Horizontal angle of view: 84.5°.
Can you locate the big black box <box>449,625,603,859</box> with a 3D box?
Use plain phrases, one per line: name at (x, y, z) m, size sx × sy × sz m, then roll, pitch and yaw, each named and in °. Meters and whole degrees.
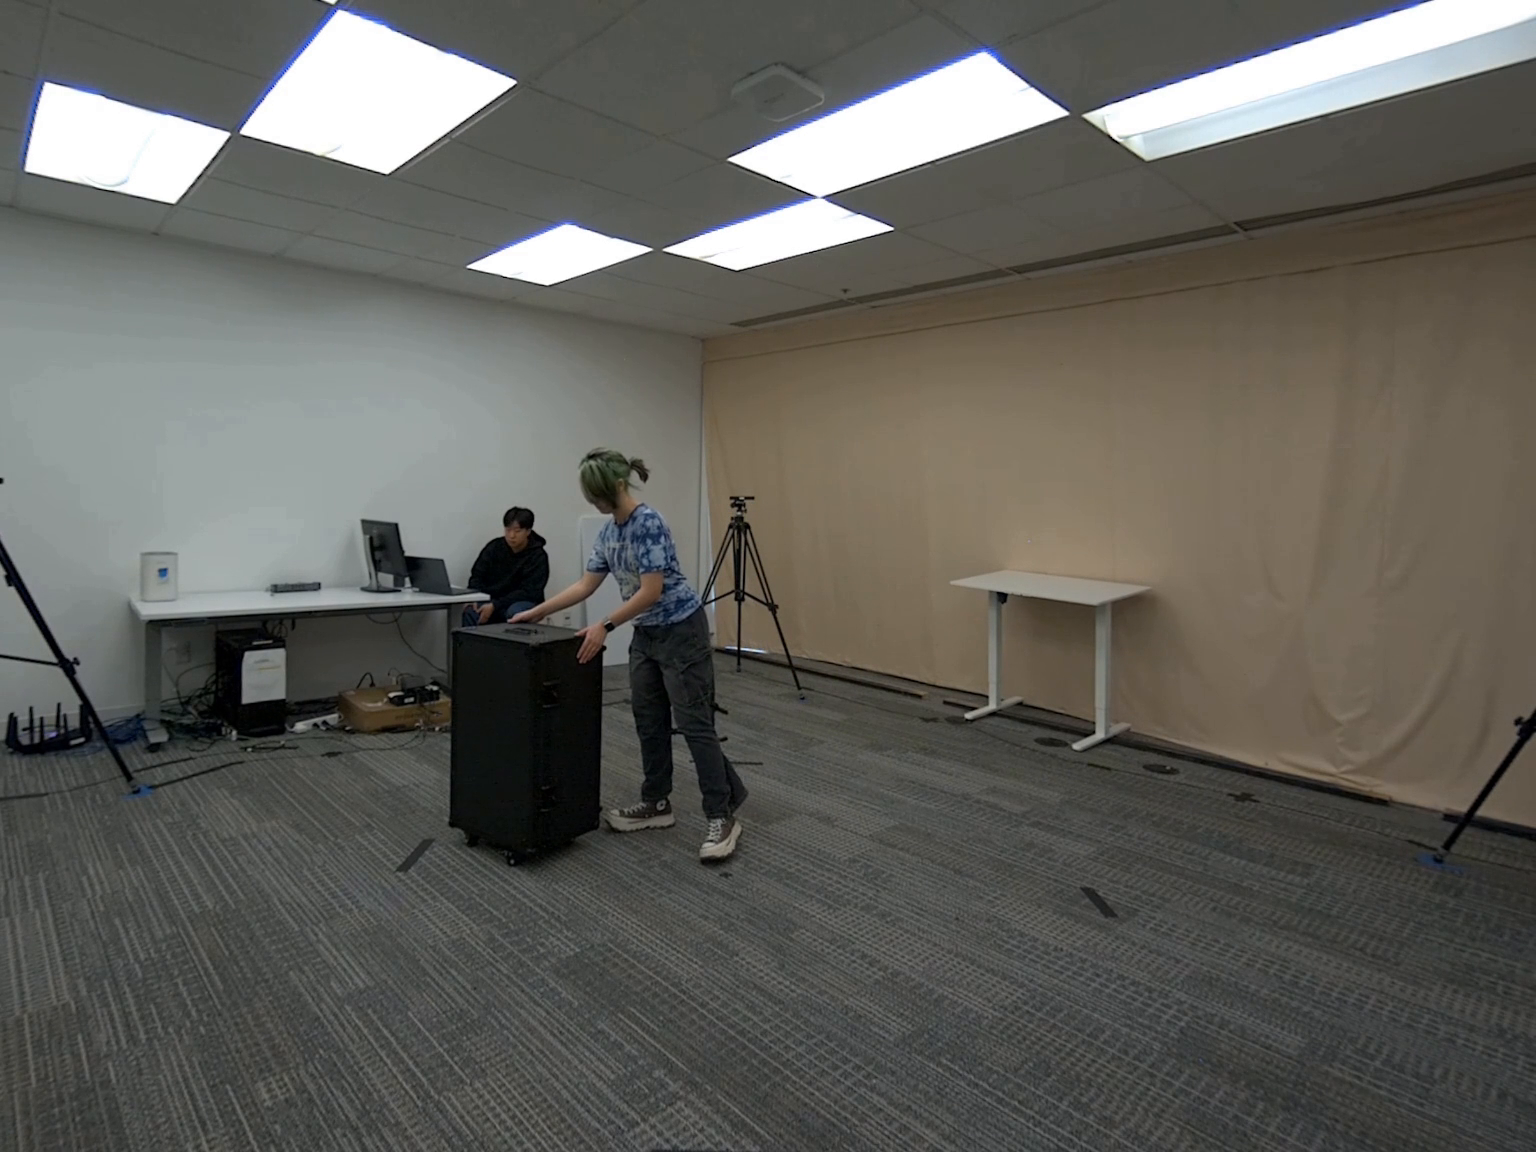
big black box at (-0.960, 0.642, 3.322) m, size 0.533 × 0.860 × 0.388 m, roll 4°, pitch 3°, yaw 35°
